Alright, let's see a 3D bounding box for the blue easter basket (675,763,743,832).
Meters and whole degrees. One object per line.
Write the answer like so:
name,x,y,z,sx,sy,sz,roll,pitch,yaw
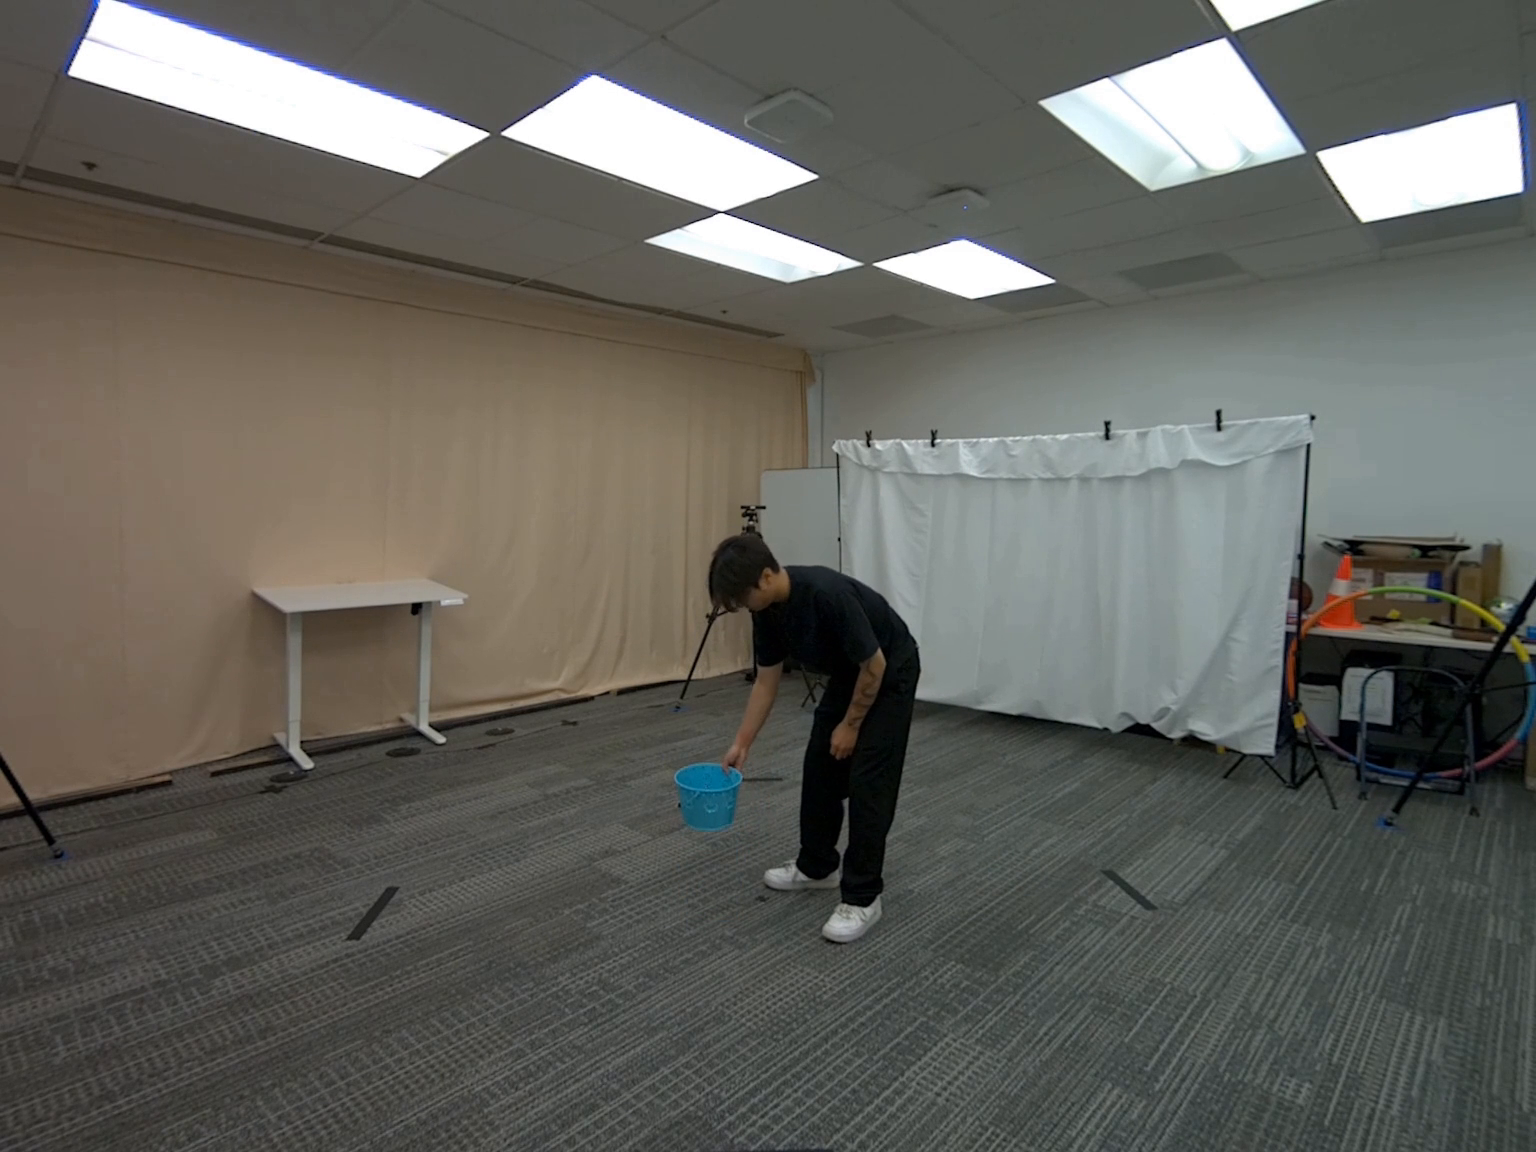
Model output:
blue easter basket,-0.204,0.770,2.917,0.243,0.155,0.245,0,9,-2
